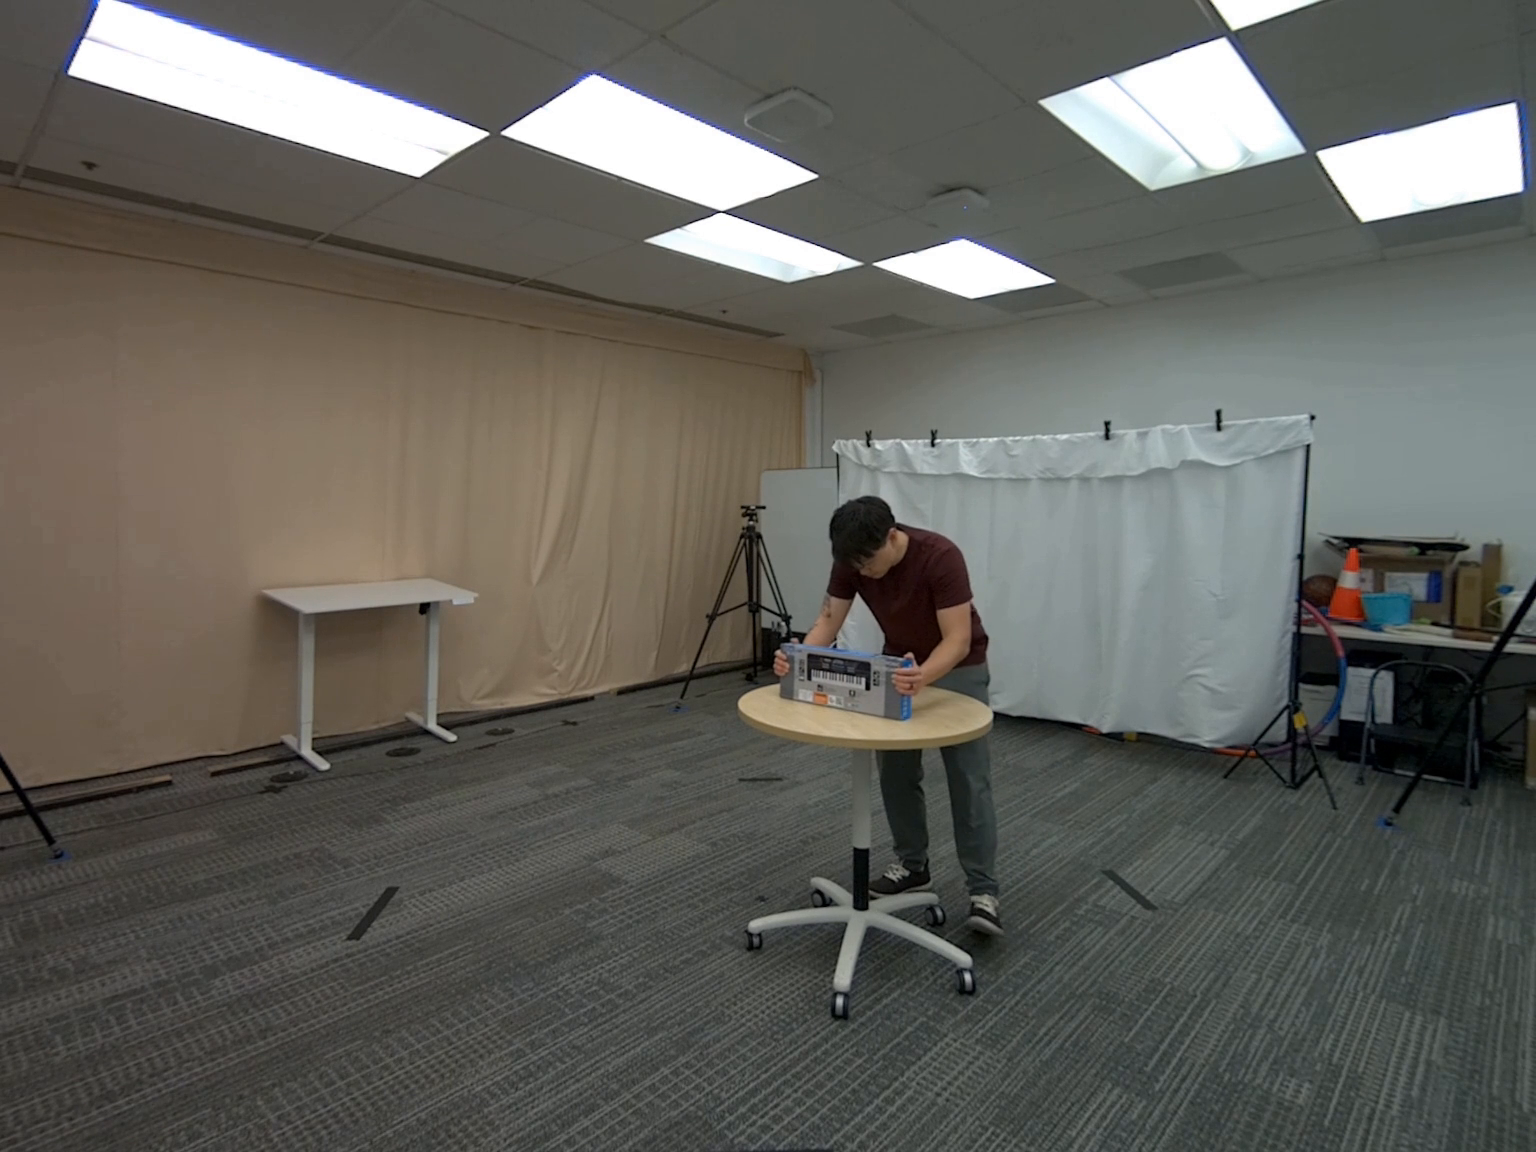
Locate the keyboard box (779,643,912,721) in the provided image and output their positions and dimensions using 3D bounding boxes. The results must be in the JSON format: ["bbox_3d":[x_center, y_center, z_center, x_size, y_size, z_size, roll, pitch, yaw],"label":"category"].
[{"bbox_3d":[0.233,0.321,2.553,0.451,0.175,0.057,4,6,39],"label":"keyboard box"}]
